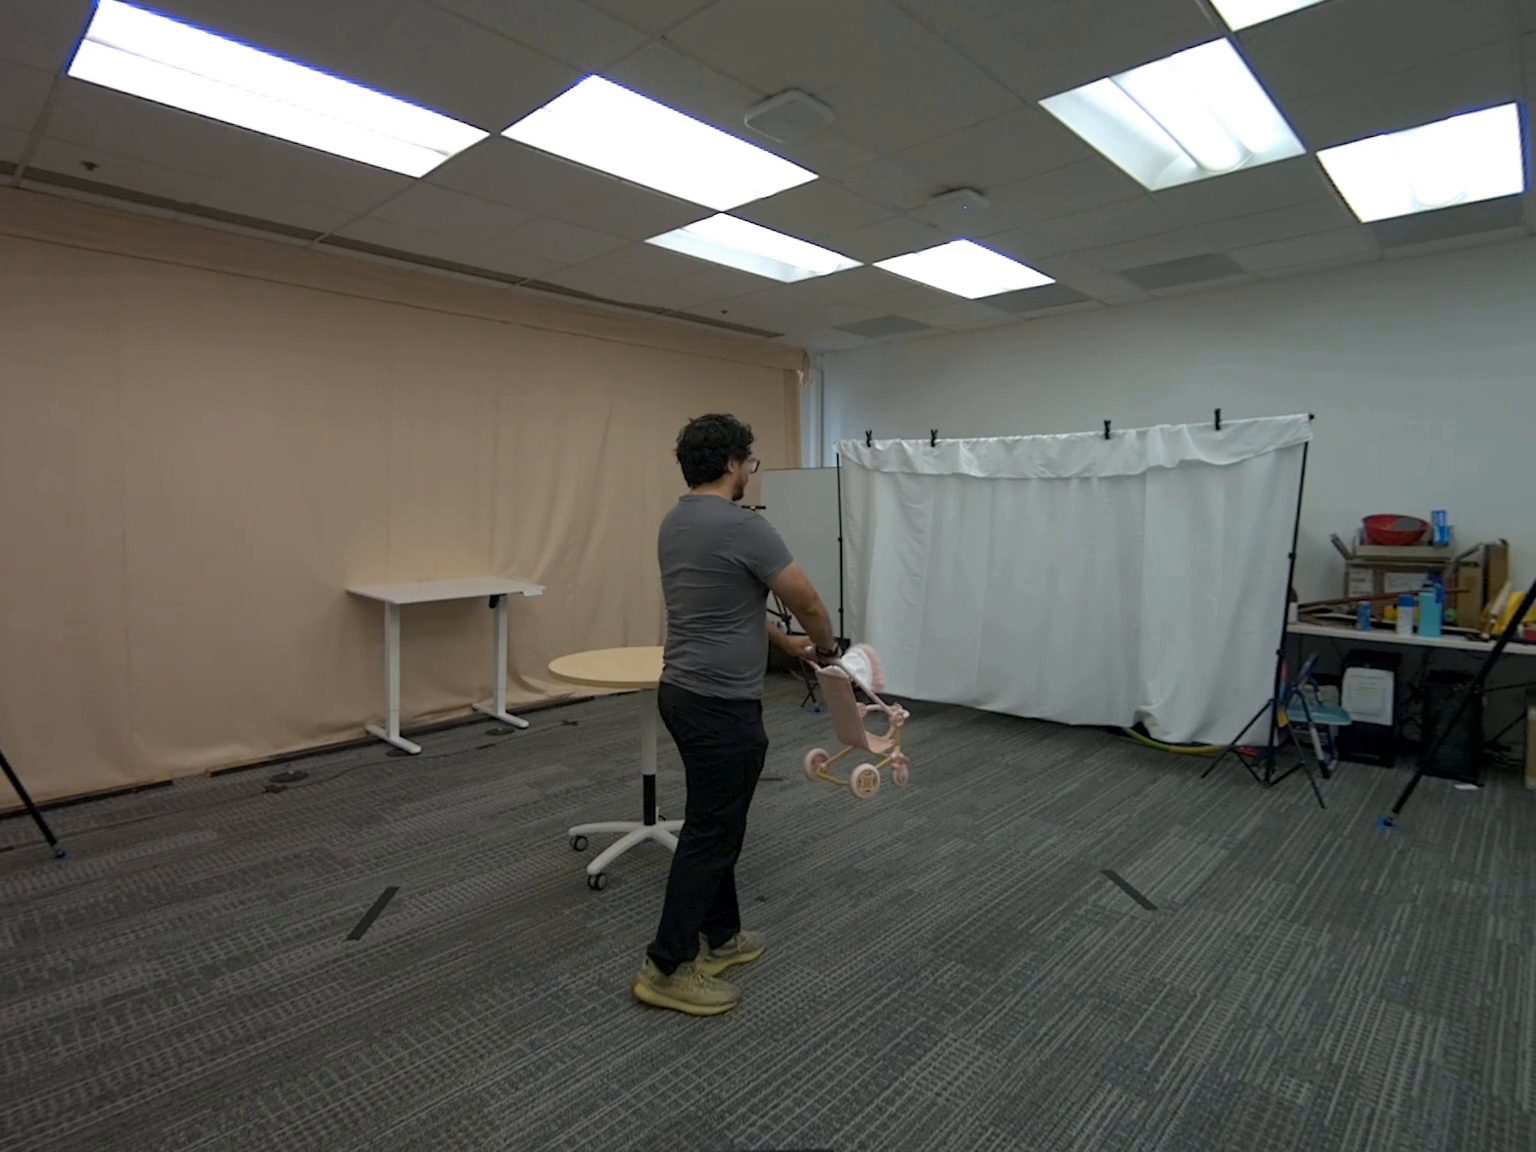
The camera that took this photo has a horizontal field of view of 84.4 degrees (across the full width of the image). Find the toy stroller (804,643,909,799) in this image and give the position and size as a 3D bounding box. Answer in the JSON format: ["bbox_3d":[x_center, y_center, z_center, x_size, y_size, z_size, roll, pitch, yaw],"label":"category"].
[{"bbox_3d":[0.310,0.469,2.772,0.334,0.534,0.288,-11,3,-25],"label":"toy stroller"}]
